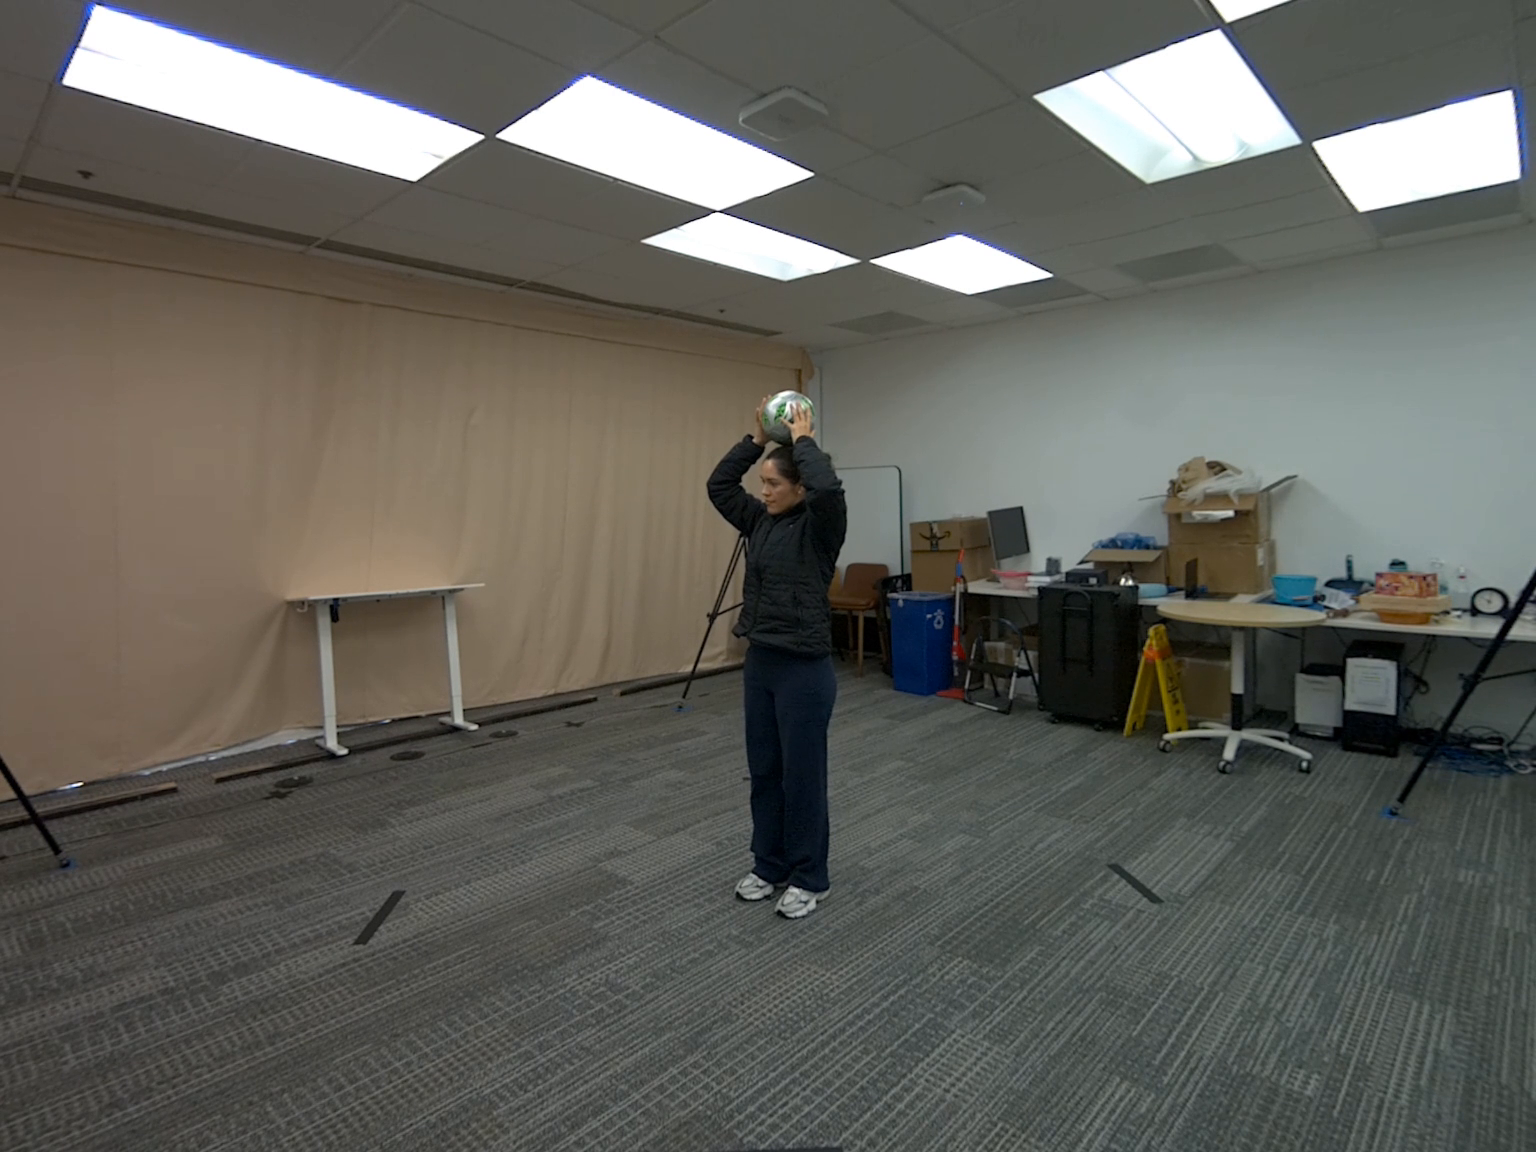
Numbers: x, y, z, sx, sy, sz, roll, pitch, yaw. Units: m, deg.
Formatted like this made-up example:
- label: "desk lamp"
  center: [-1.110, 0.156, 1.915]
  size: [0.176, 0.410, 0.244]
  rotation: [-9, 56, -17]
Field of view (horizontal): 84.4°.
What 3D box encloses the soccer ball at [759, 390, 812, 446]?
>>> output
- label: "soccer ball"
  center: [0.069, -0.541, 2.898]
  size: [0.187, 0.187, 0.188]
  rotation: [-1, 4, -2]
